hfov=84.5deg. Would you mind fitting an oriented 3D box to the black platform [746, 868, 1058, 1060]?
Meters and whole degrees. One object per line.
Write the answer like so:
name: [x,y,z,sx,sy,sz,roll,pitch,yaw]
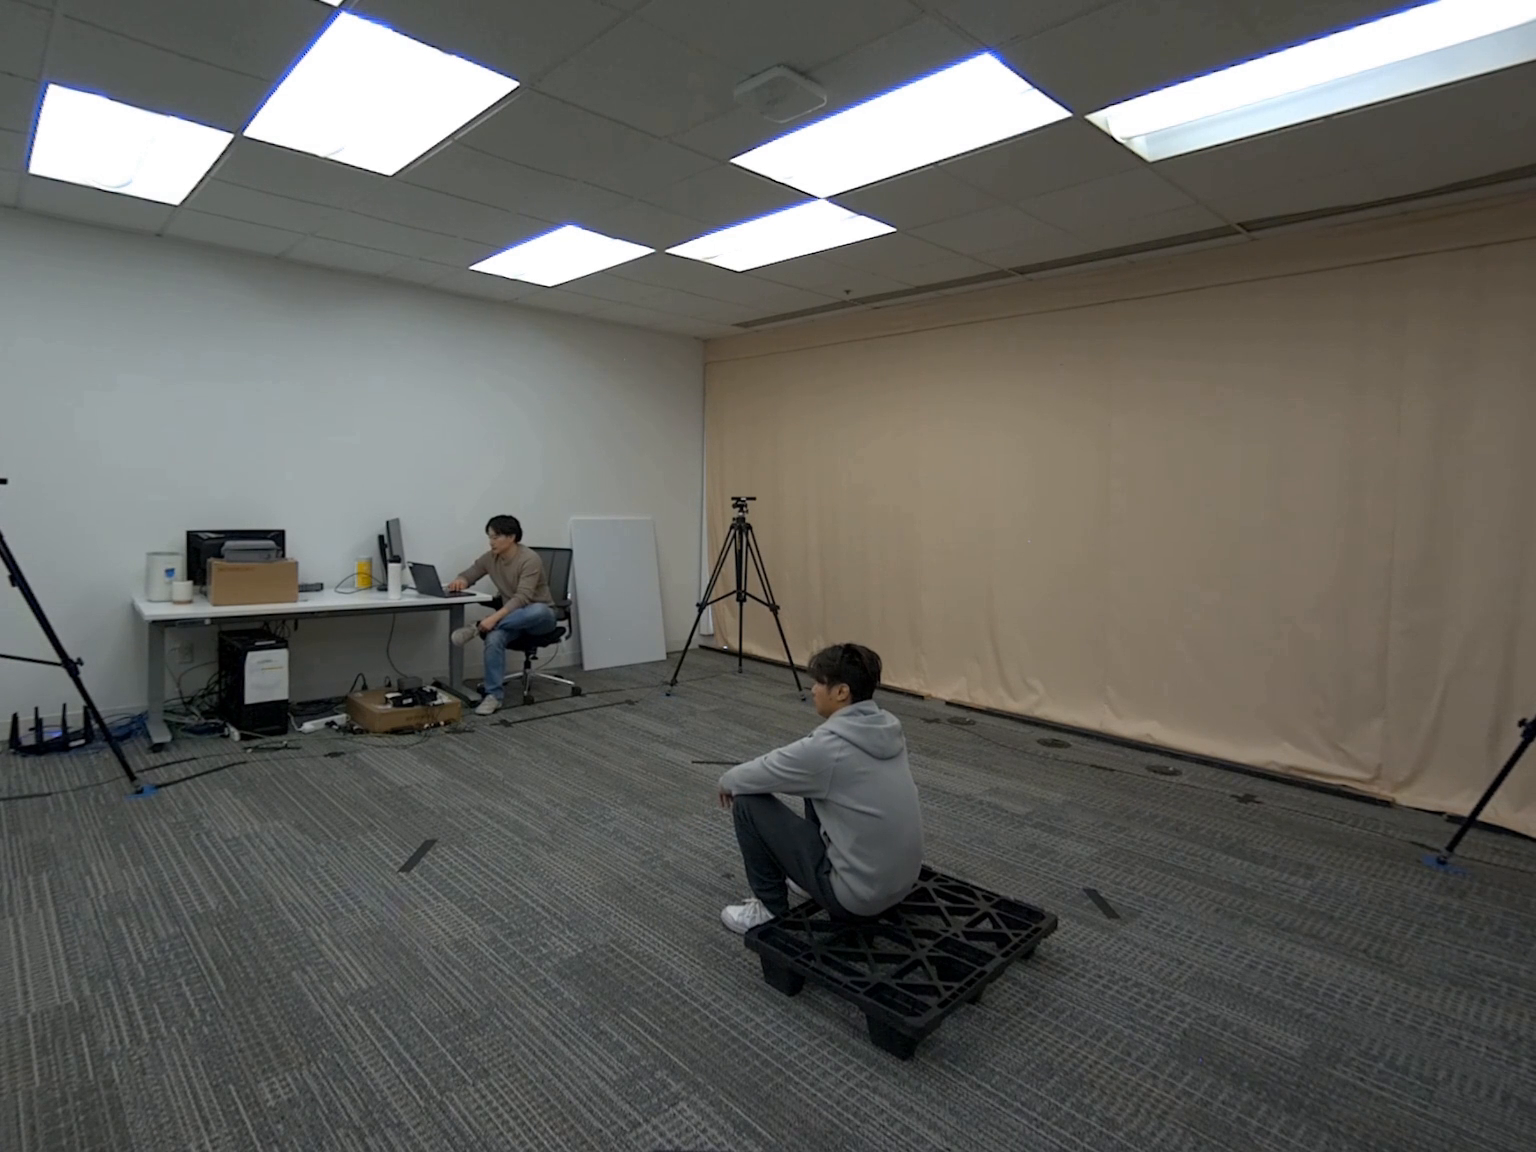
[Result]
black platform: [0.398,1.108,2.520,0.620,0.143,0.787,6,7,43]
